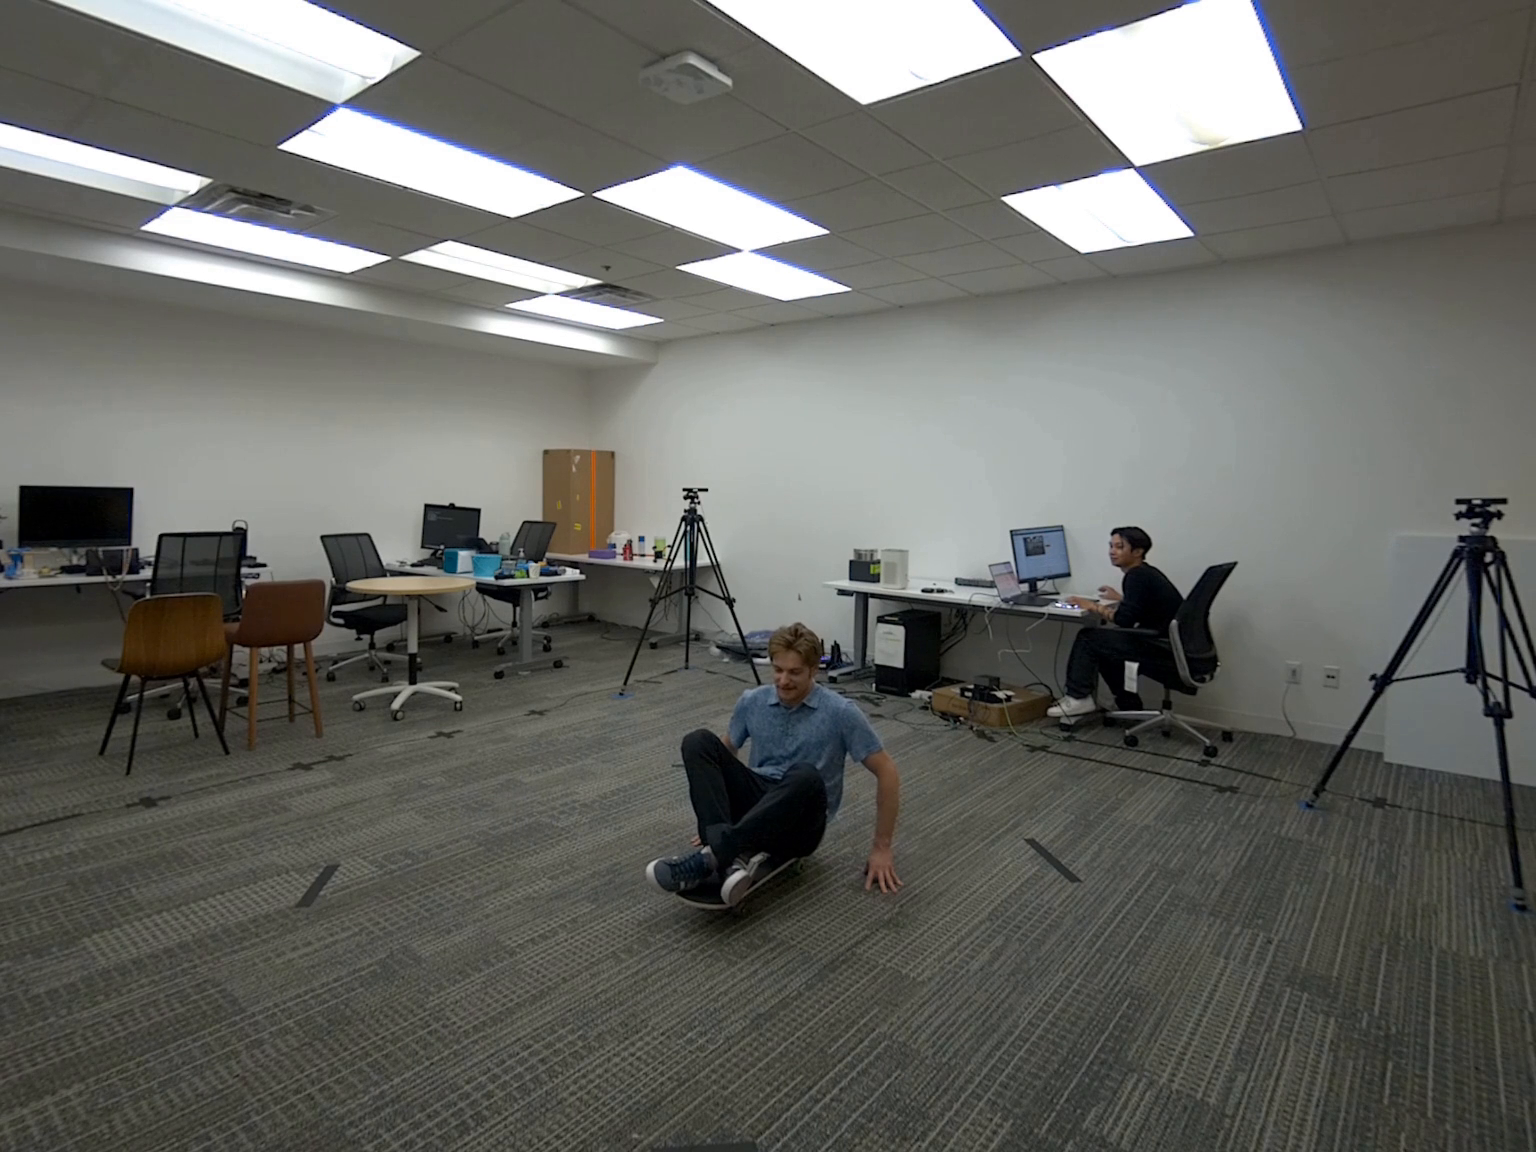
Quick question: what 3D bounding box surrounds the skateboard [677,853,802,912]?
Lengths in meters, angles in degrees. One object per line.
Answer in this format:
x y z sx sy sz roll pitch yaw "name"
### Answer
-0.053 1.039 2.954 0.199 0.110 0.767 9 8 25 "skateboard"
